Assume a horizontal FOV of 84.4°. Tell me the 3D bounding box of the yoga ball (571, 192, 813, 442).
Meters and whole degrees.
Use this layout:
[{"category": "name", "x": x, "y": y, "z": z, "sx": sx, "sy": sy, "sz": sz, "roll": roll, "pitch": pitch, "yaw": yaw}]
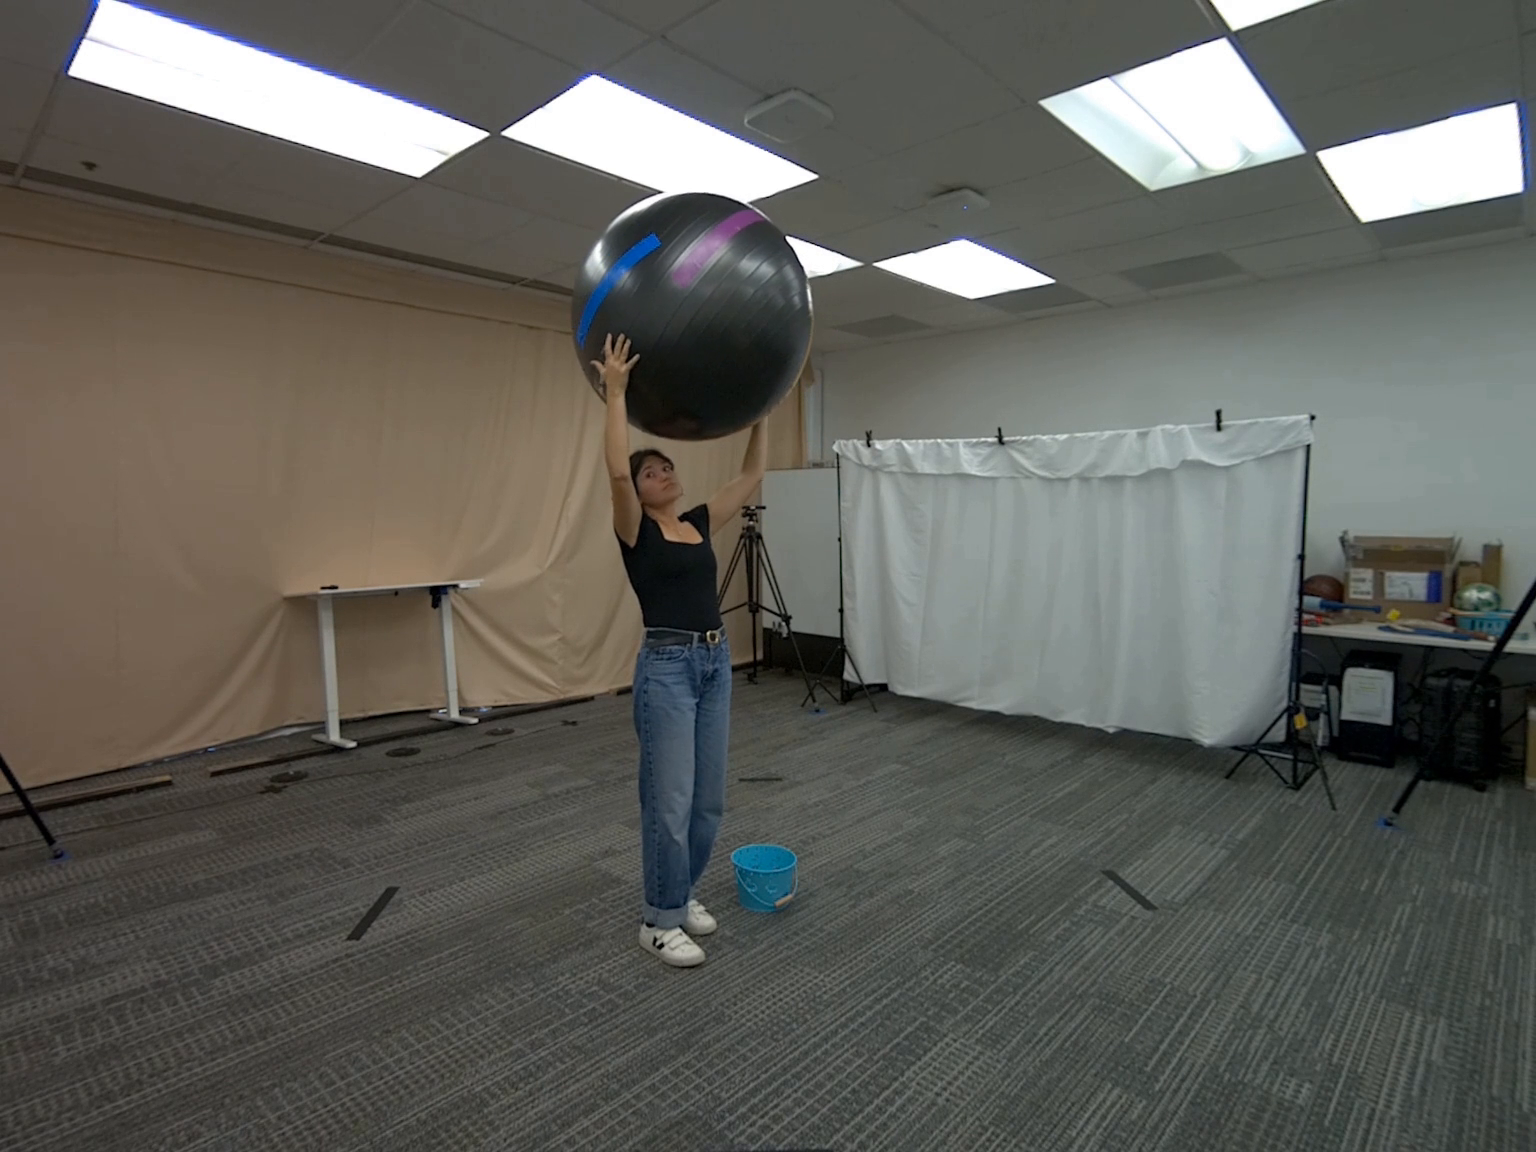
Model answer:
[{"category": "yoga ball", "x": -0.237, "y": -0.802, "z": 2.654, "sx": 0.757, "sy": 0.756, "sz": 0.760, "roll": 0, "pitch": 4, "yaw": -2}]
